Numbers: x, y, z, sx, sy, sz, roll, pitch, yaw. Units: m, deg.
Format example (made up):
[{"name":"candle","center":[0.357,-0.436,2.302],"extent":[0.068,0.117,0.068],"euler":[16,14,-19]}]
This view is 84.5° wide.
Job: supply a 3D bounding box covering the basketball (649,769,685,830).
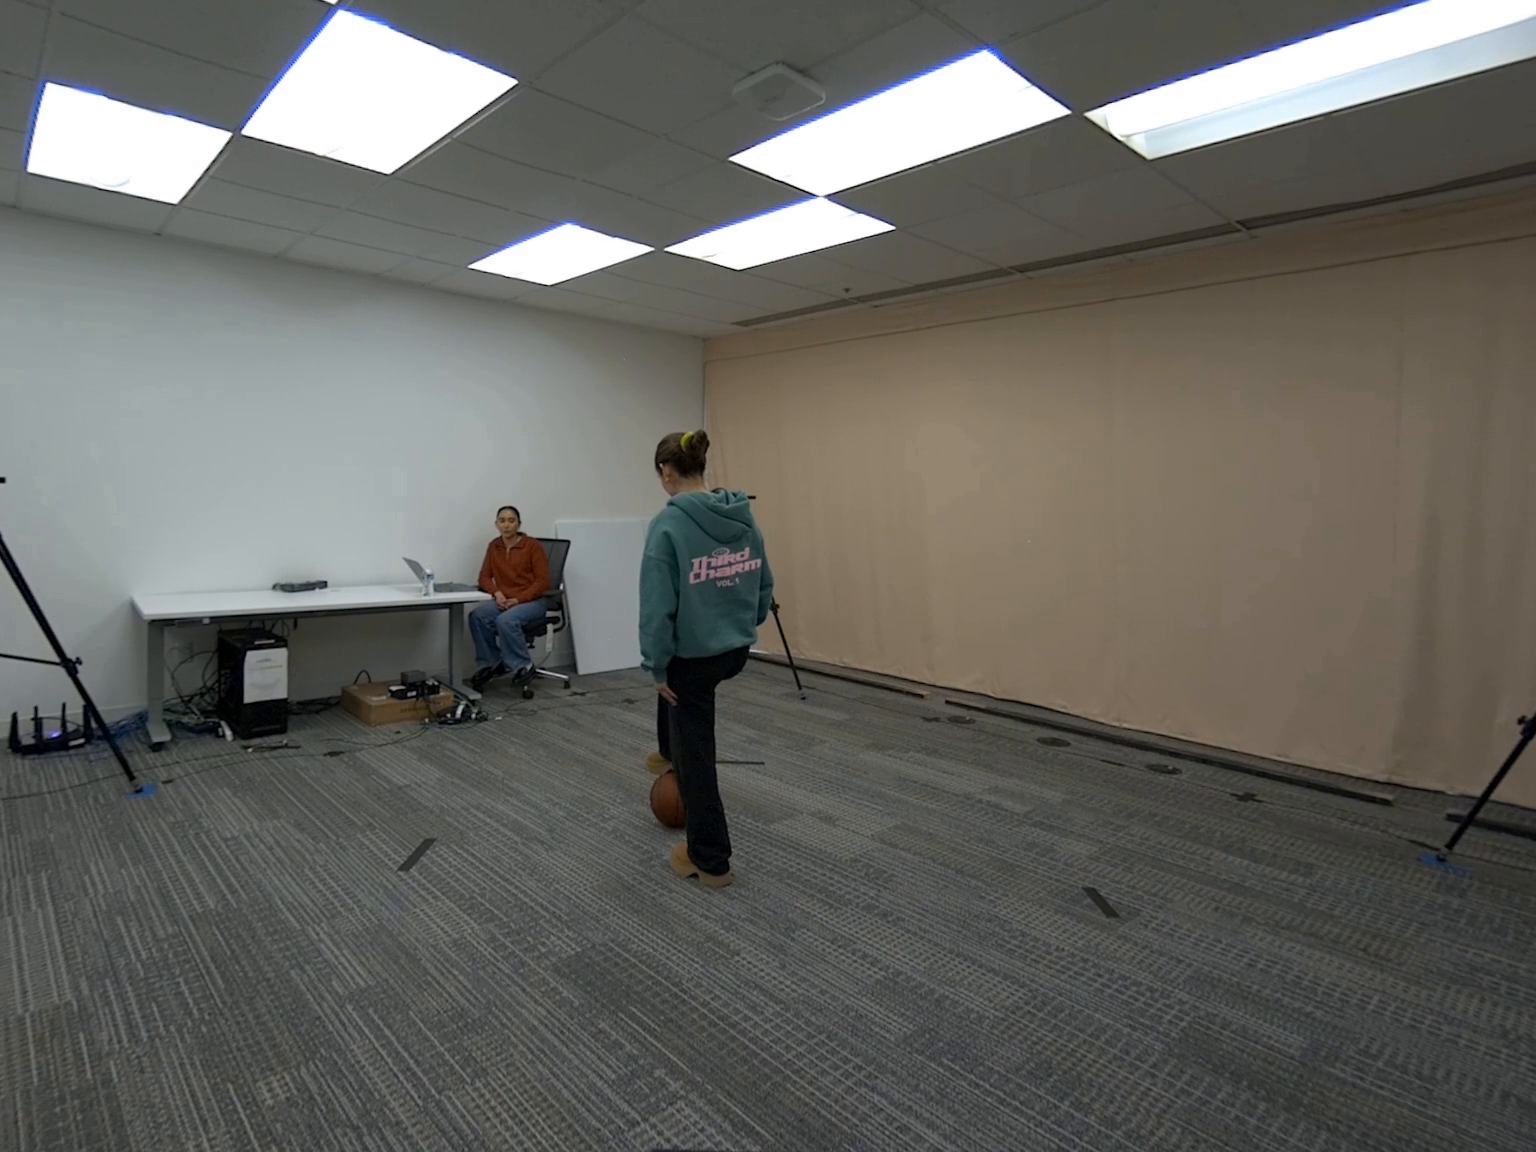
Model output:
[{"name":"basketball","center":[-0.389,0.941,3.567],"extent":[0.236,0.235,0.237],"euler":[1,4,-1]}]
